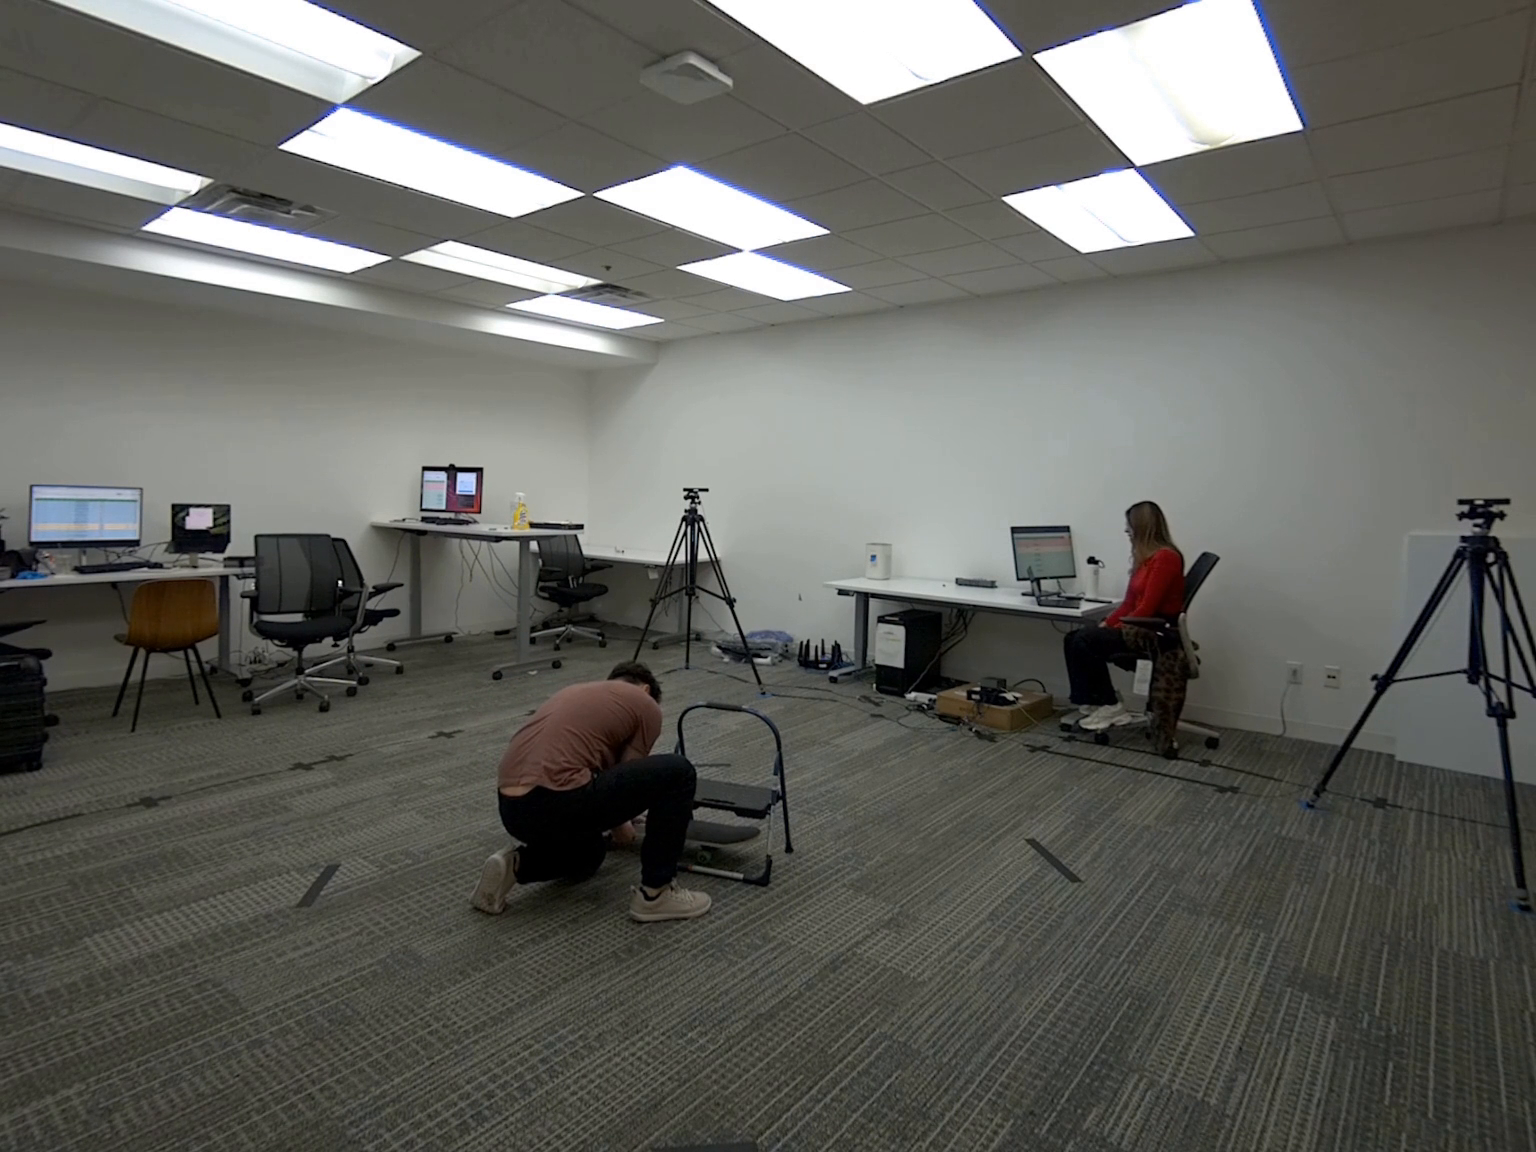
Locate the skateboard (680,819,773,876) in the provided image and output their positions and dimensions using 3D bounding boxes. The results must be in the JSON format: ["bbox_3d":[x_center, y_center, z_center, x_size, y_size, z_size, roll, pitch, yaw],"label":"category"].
[{"bbox_3d":[-0.420,0.987,3.273,0.798,0.110,0.191,2,5,14],"label":"skateboard"}]
